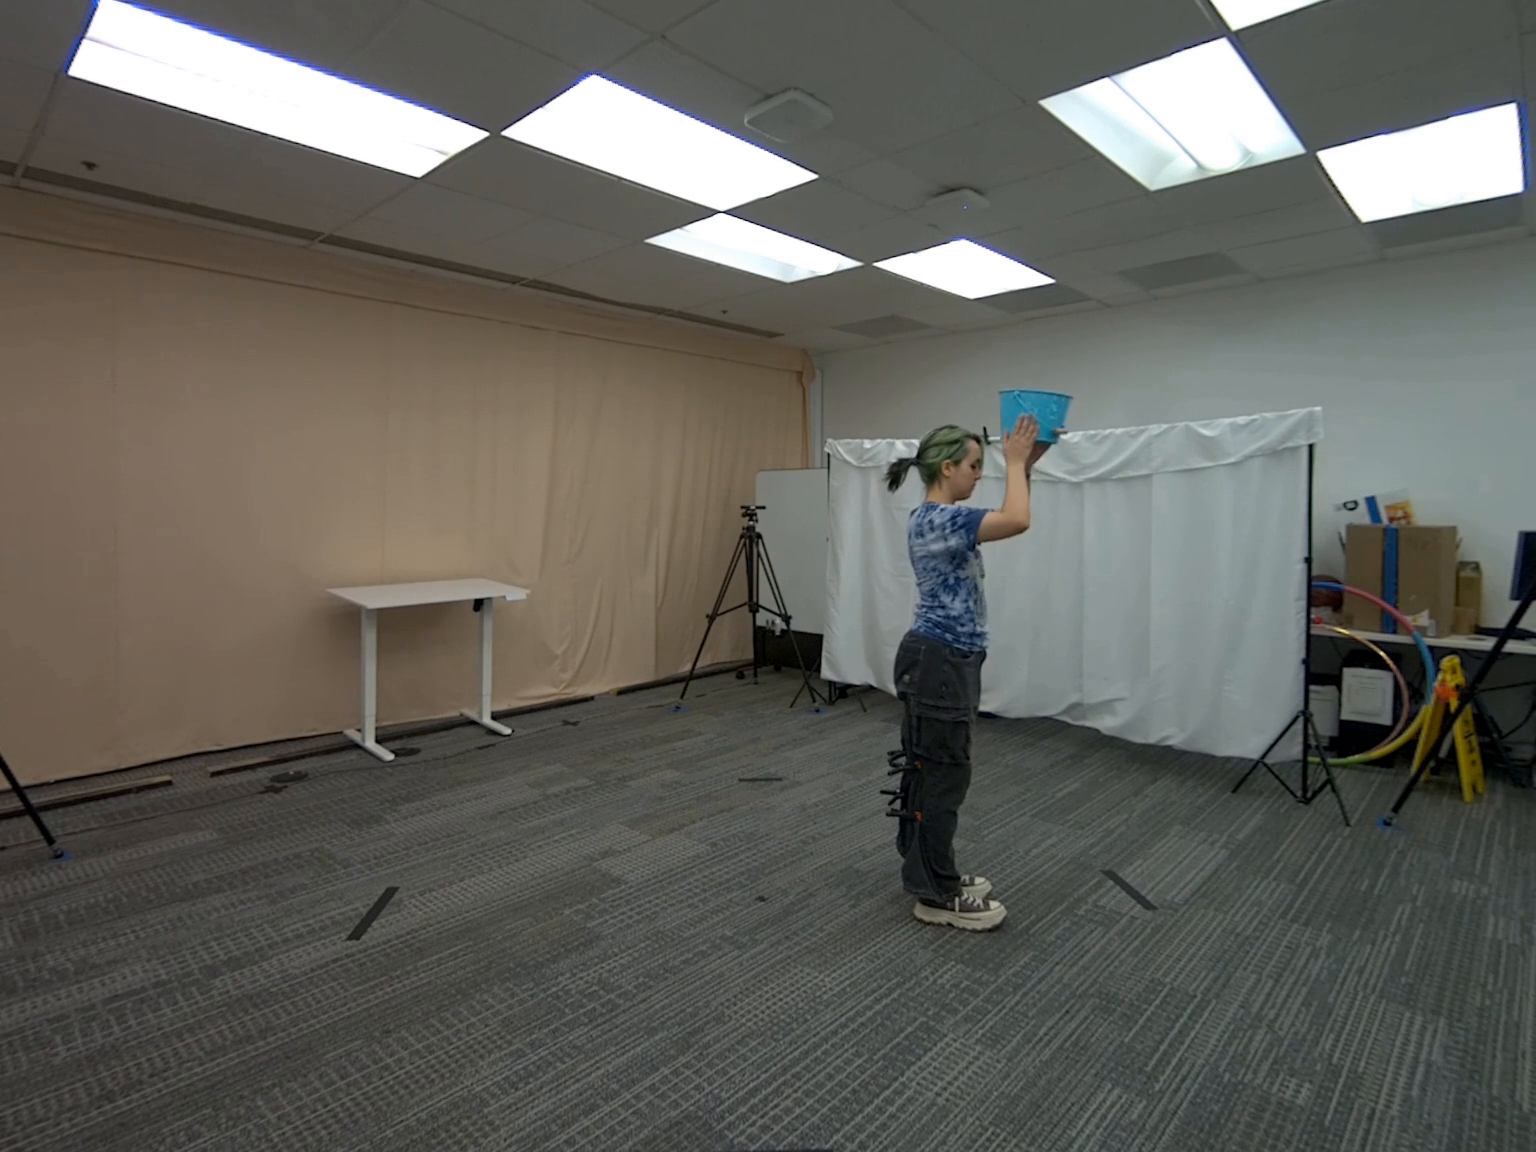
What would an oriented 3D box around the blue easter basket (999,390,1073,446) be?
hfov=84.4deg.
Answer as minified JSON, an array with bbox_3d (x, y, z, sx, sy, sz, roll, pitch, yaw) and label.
[{"bbox_3d":[0.878,-0.511,2.754,0.243,0.155,0.245,7,8,-3],"label":"blue easter basket"}]
